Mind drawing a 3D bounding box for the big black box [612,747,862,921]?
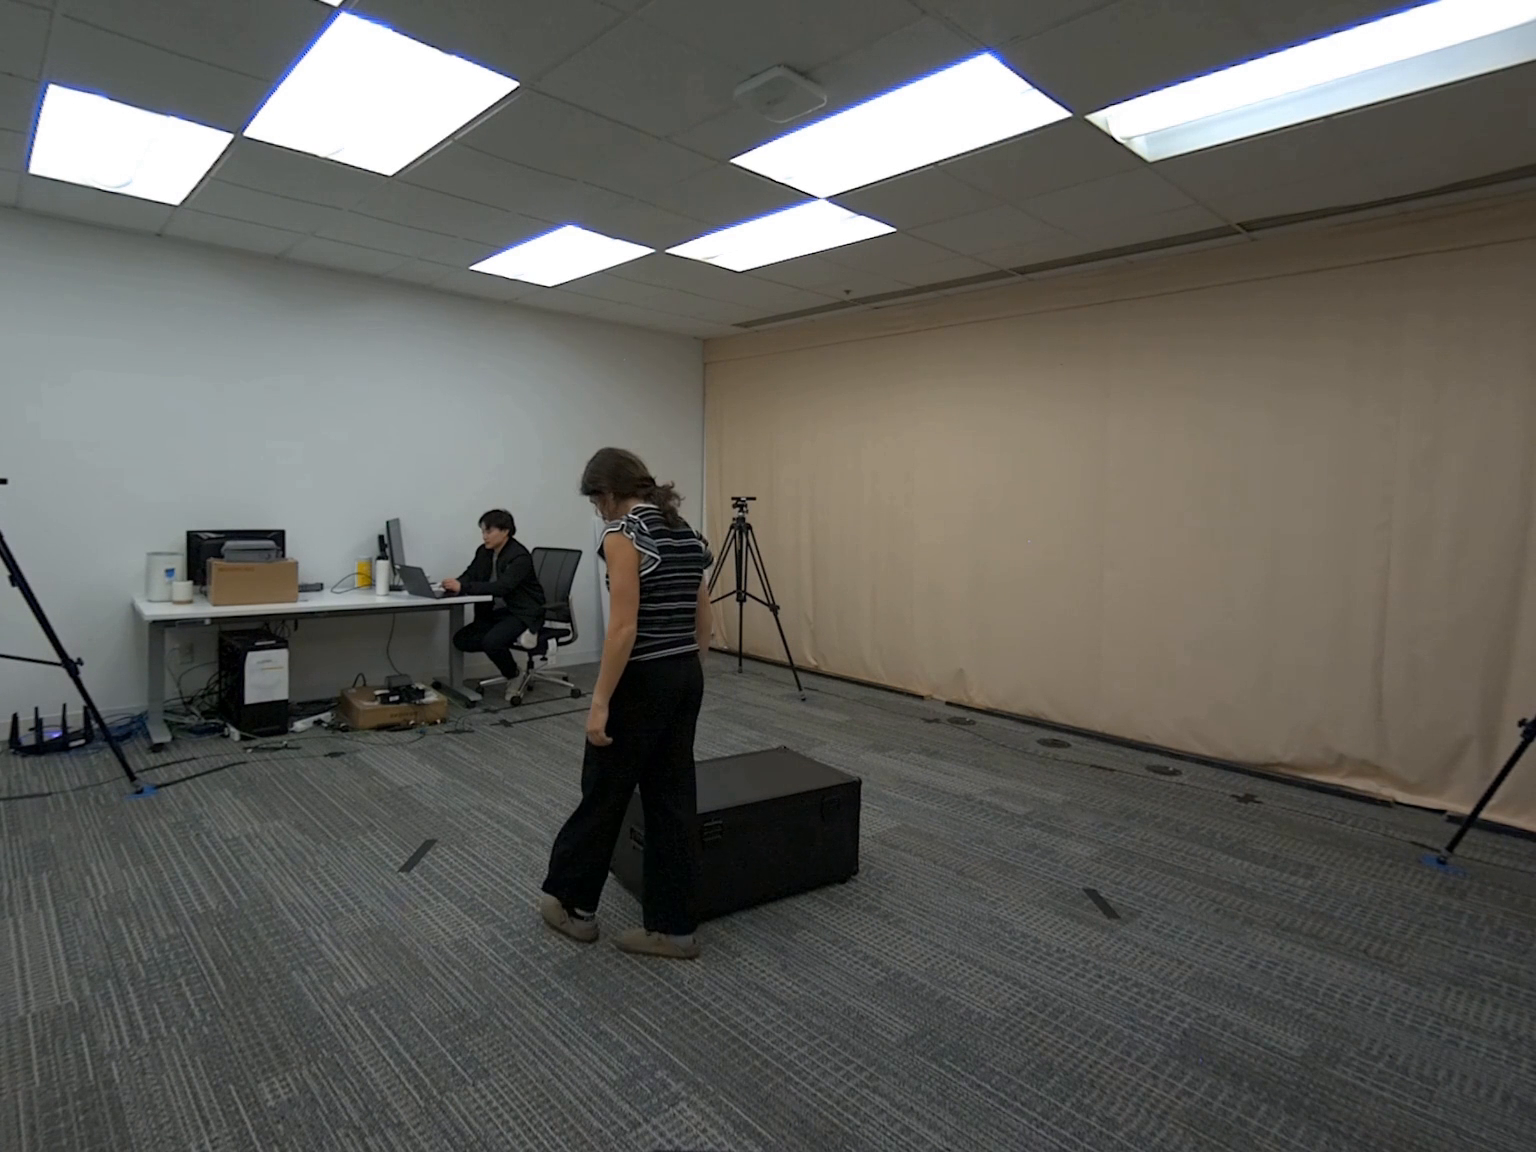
[{"bbox_3d":[-0.093,0.921,3.089,0.843,0.395,0.534,-3,6,-34],"label":"big black box"}]
